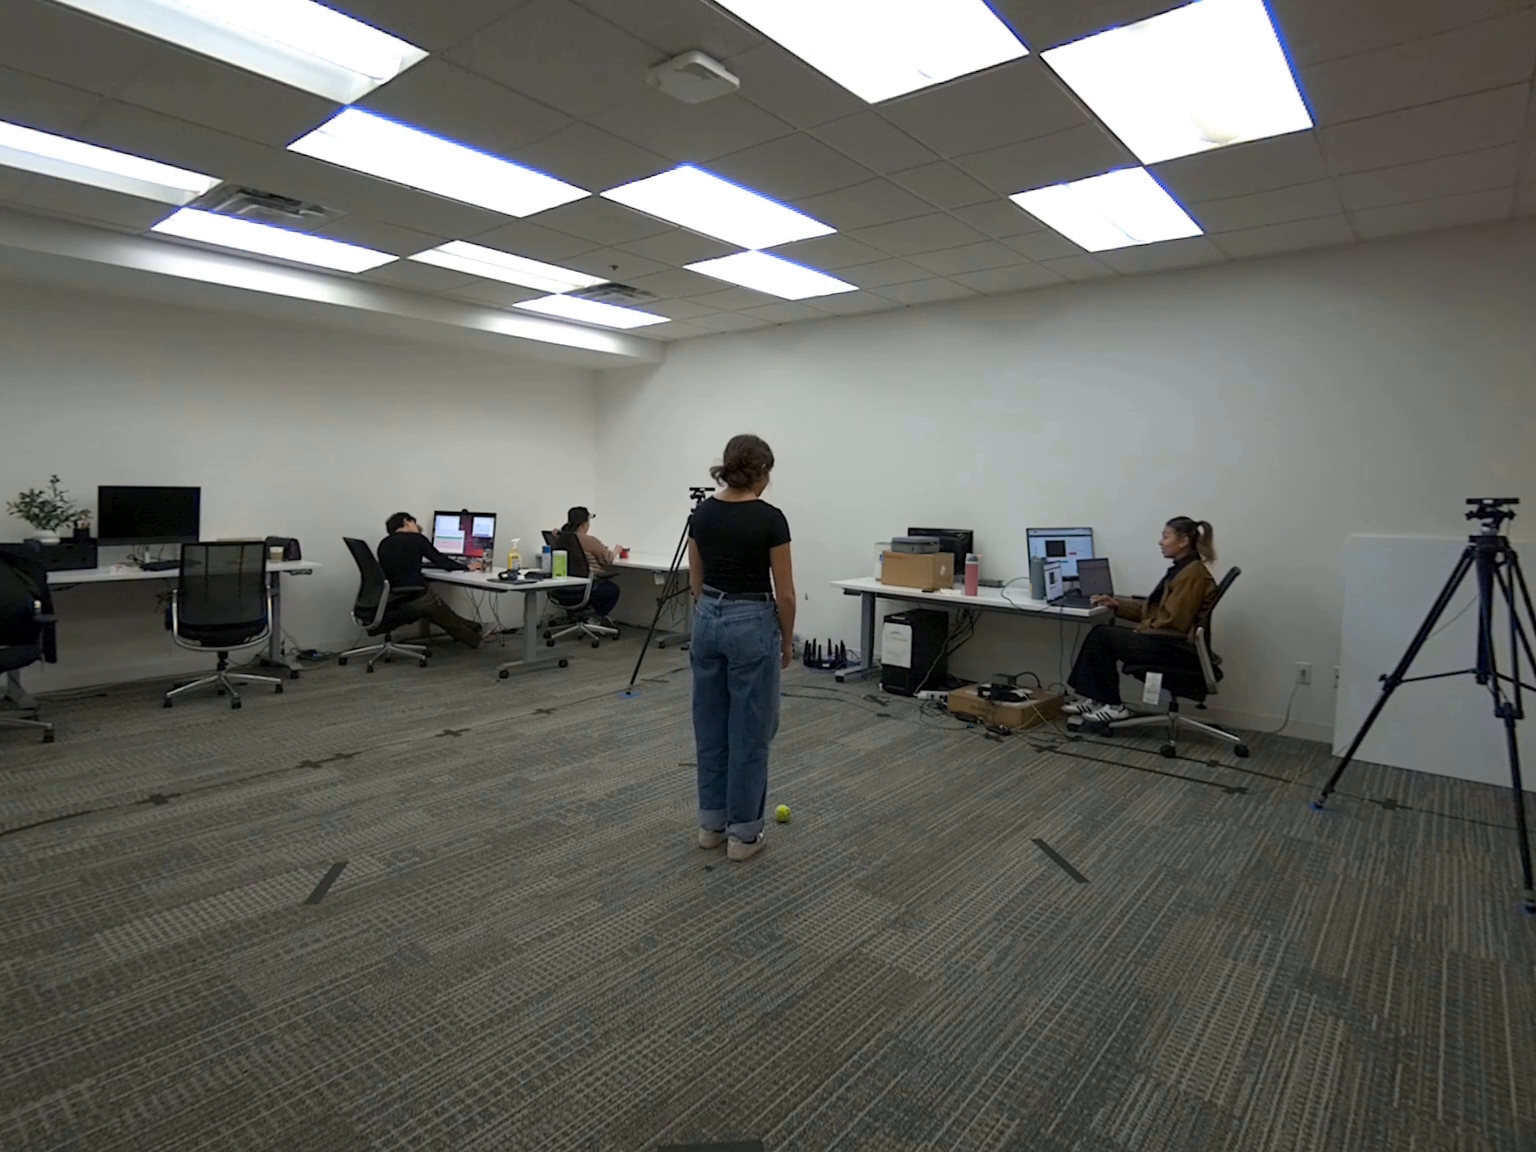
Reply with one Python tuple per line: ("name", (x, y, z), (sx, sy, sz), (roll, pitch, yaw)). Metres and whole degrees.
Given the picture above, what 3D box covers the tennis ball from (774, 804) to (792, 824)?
("tennis ball", (0.054, 0.982, 3.578), (0.066, 0.066, 0.067), (1, 4, -2))
